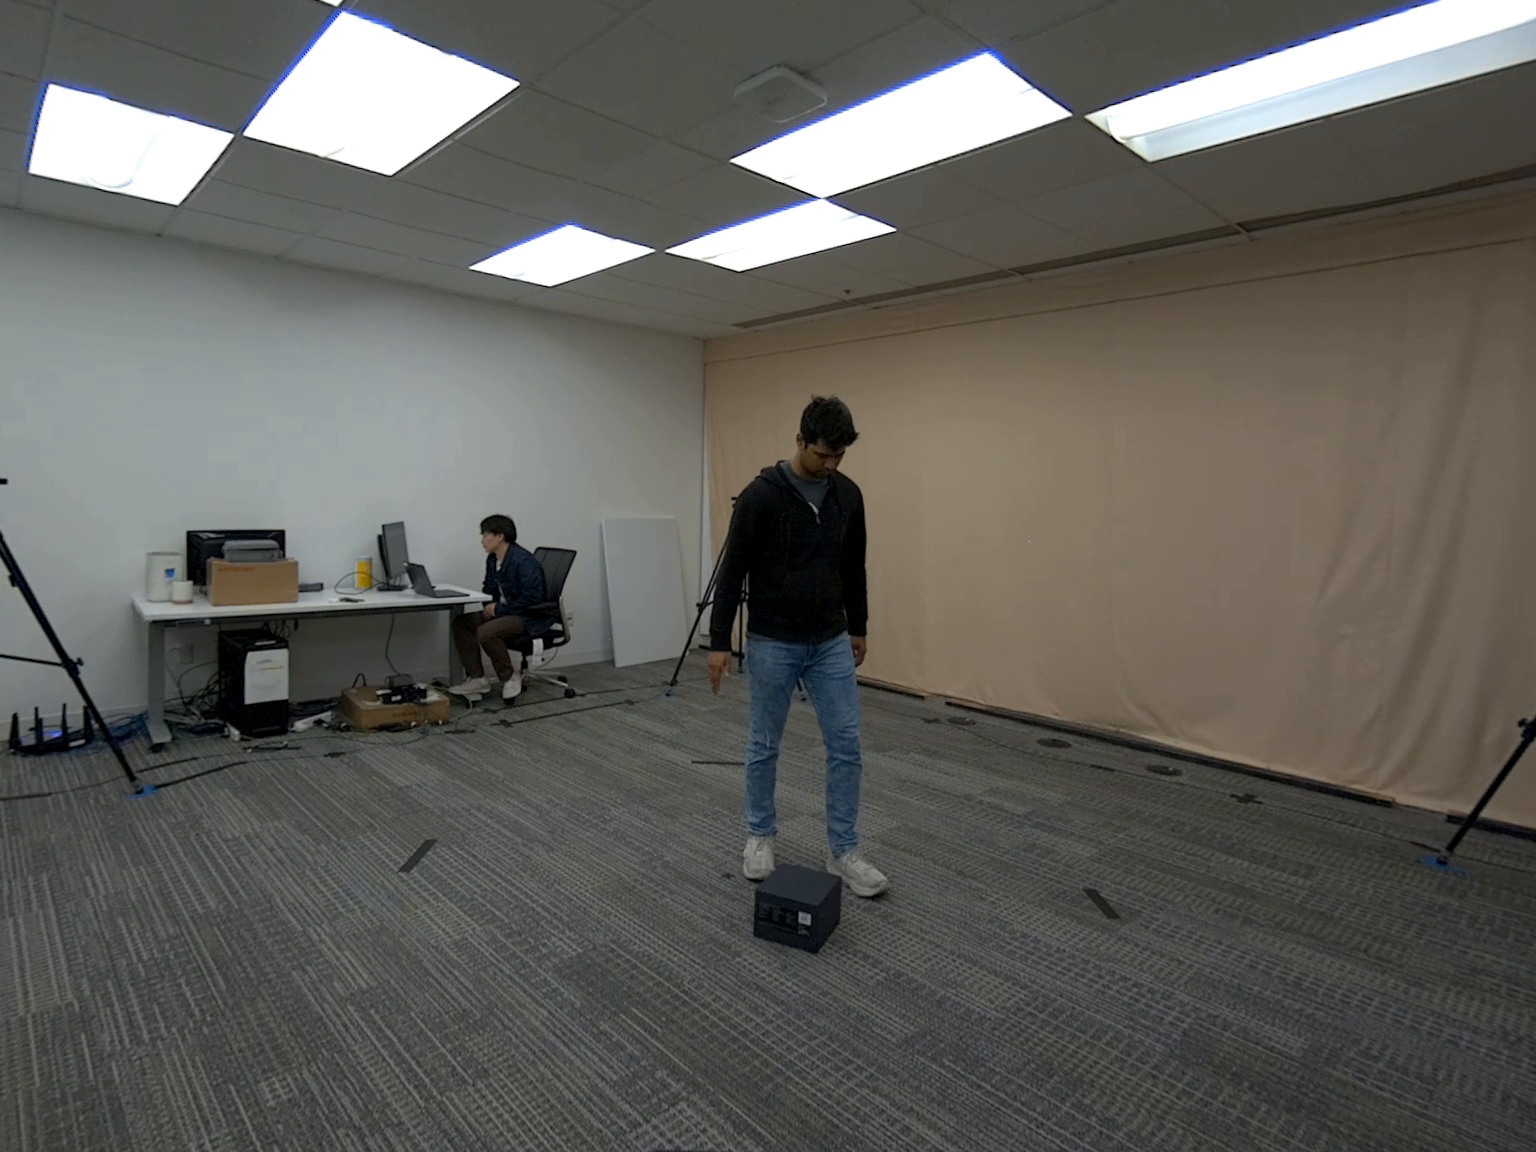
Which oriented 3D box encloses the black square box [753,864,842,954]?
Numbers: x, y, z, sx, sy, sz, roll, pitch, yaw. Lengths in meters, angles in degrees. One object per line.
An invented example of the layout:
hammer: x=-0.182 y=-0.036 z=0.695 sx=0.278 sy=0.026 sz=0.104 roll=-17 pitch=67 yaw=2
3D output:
black square box: x=0.101 y=1.063 z=2.730 sx=0.221 sy=0.155 sz=0.224 roll=3 pitch=5 yaw=25
